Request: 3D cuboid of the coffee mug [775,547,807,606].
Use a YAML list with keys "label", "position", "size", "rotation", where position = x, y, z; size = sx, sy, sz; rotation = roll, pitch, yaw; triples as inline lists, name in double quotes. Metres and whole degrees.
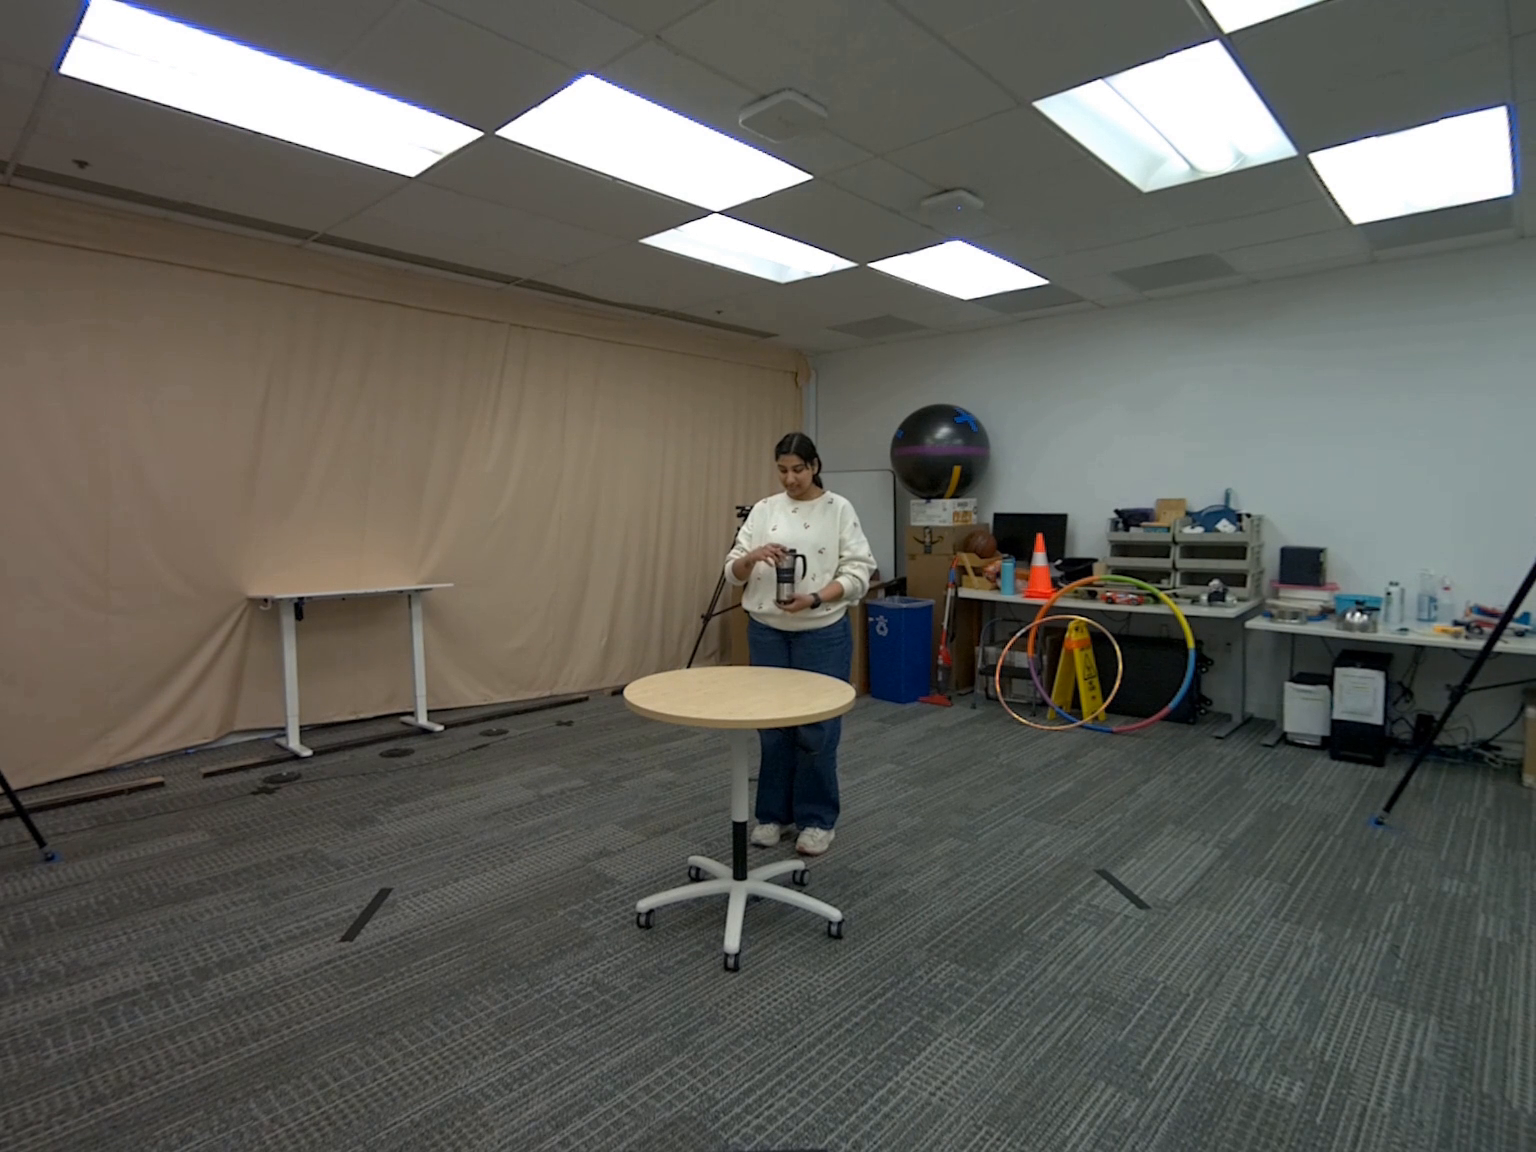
- label: "coffee mug"
  position: [0.081, 0.000, 3.195]
  size: [0.085, 0.203, 0.125]
  rotation: [2, -5, -31]
